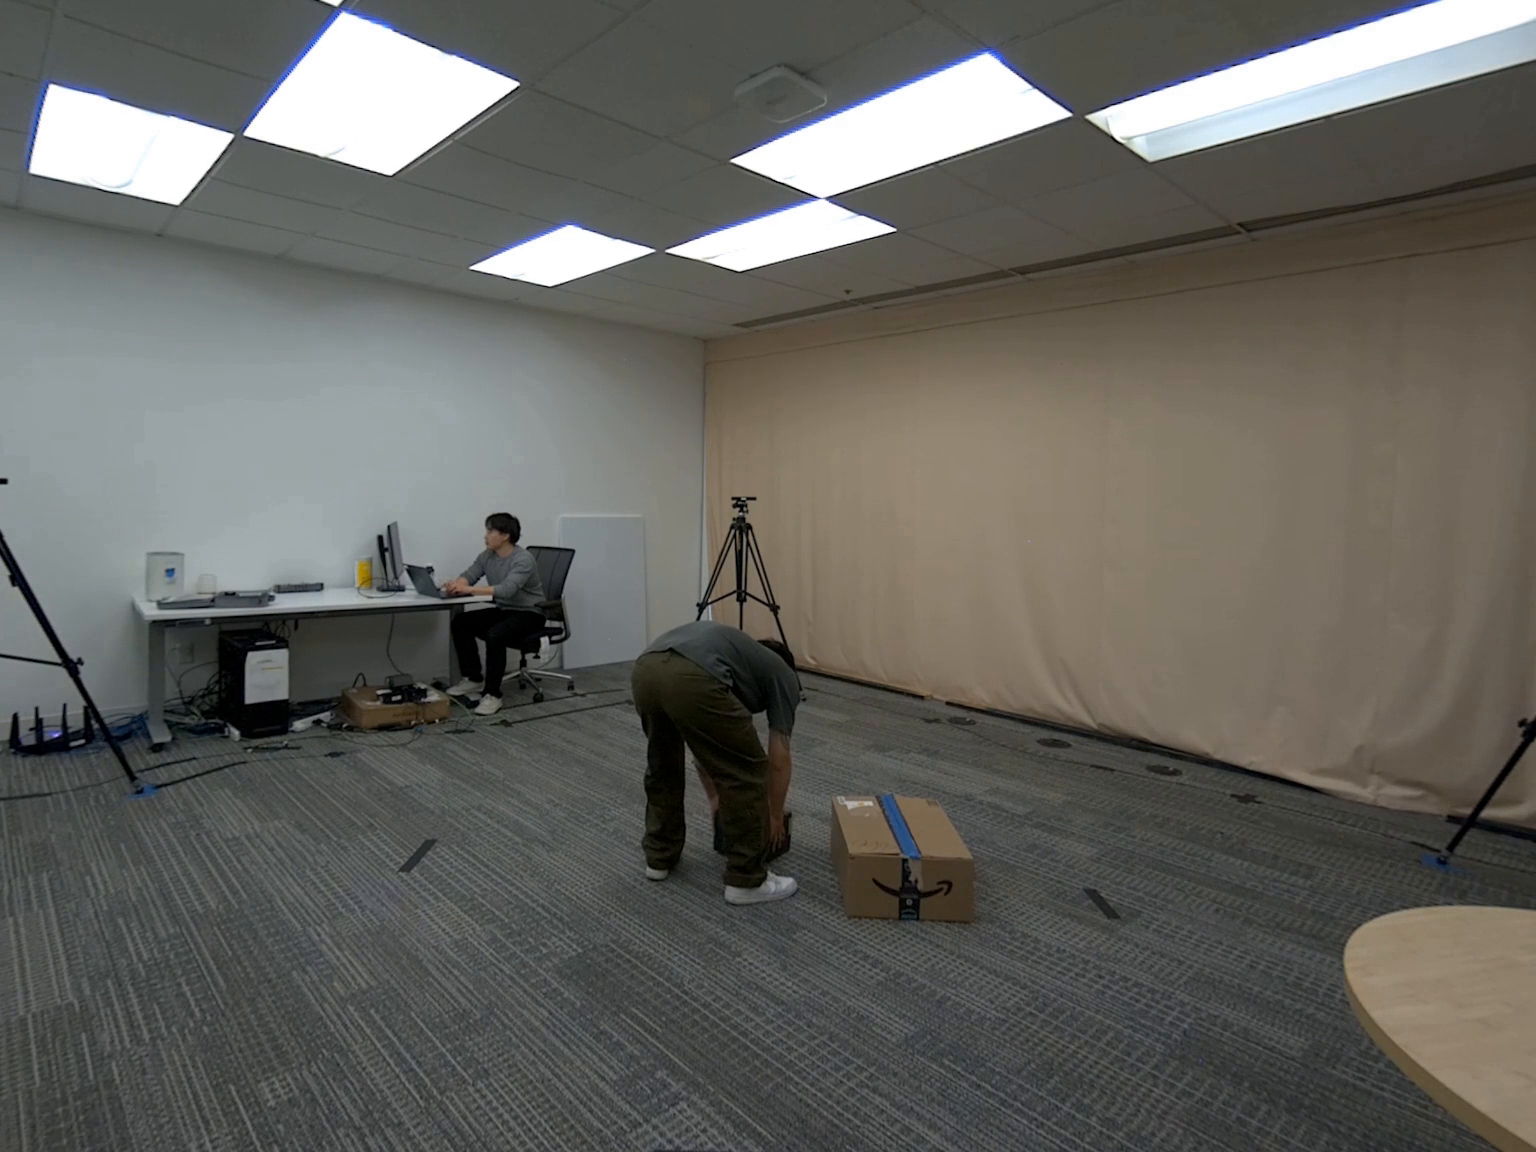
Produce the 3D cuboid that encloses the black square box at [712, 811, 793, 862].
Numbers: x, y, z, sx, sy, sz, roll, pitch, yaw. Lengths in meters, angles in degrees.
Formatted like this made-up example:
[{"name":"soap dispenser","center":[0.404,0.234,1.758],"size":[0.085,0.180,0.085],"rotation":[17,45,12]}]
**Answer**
[{"name":"black square box","center":[-0.058,1.005,3.321],"size":[0.233,0.156,0.212],"rotation":[4,2,33]}]
